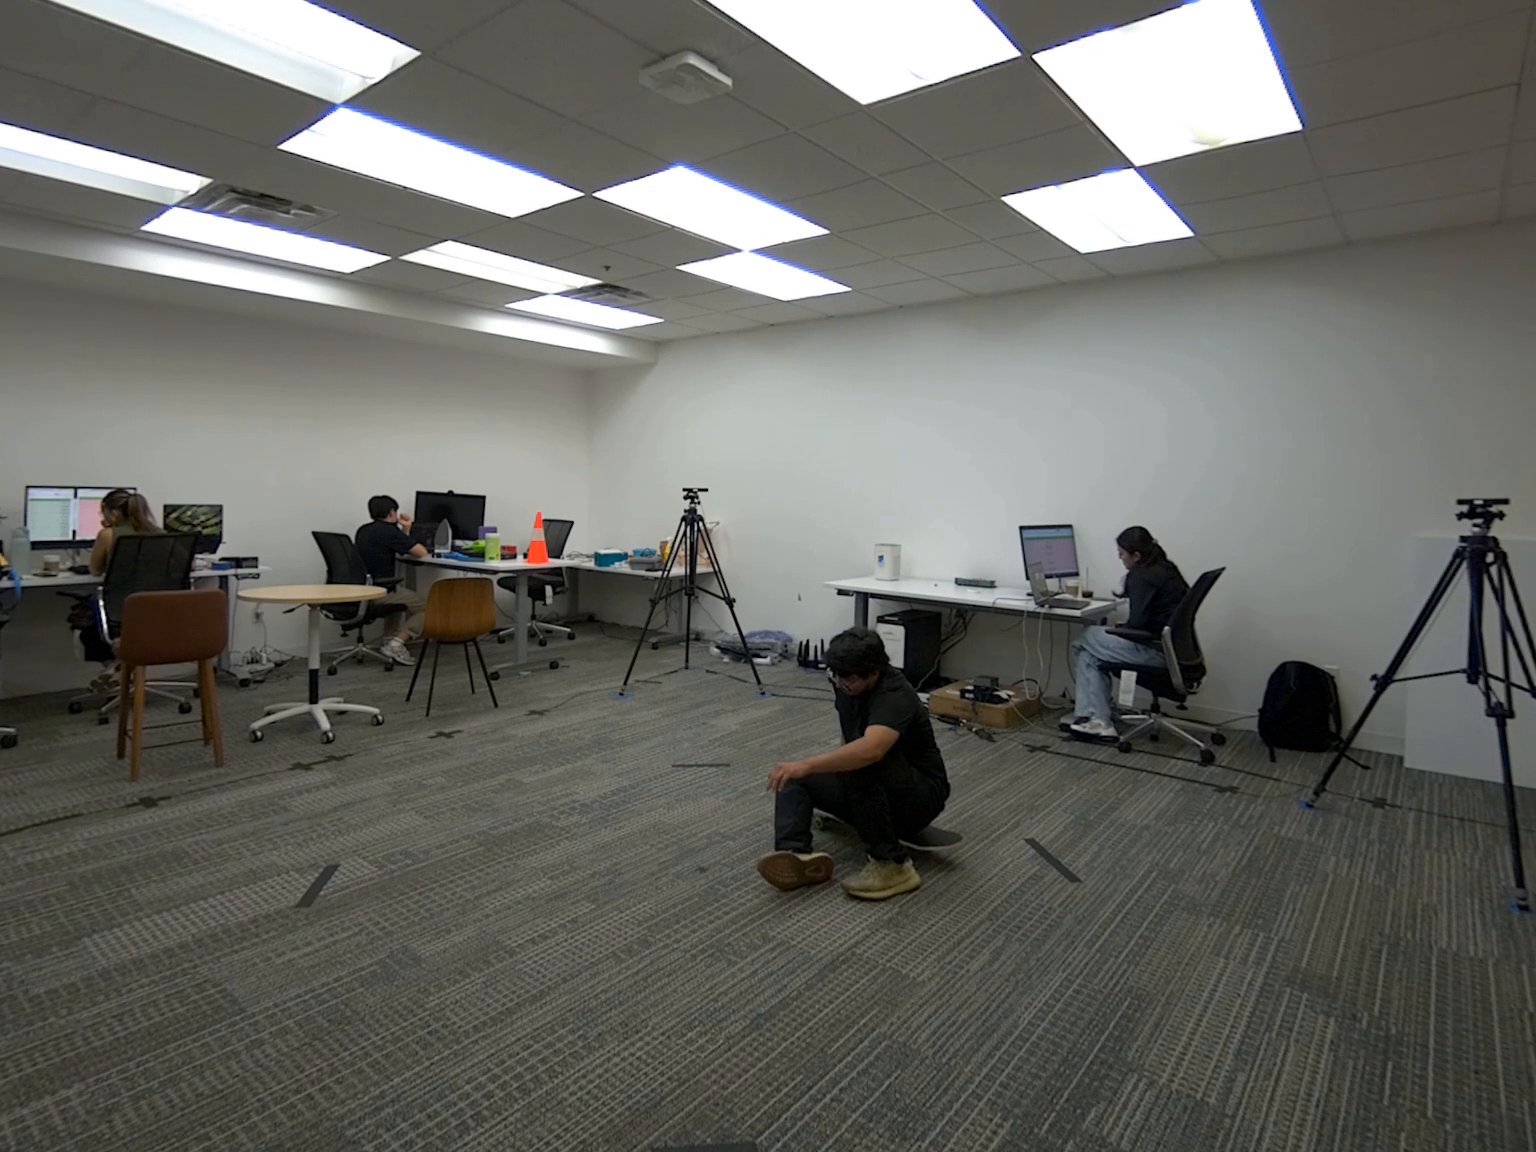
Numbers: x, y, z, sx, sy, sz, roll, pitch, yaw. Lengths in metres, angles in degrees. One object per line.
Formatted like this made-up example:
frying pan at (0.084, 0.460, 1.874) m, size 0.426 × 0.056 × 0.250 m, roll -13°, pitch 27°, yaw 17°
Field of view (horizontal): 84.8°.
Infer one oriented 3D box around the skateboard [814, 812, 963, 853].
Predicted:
skateboard at (0.407, 0.994, 3.420) m, size 0.813 × 0.109 × 0.188 m, roll 8°, pitch 11°, yaw 43°
